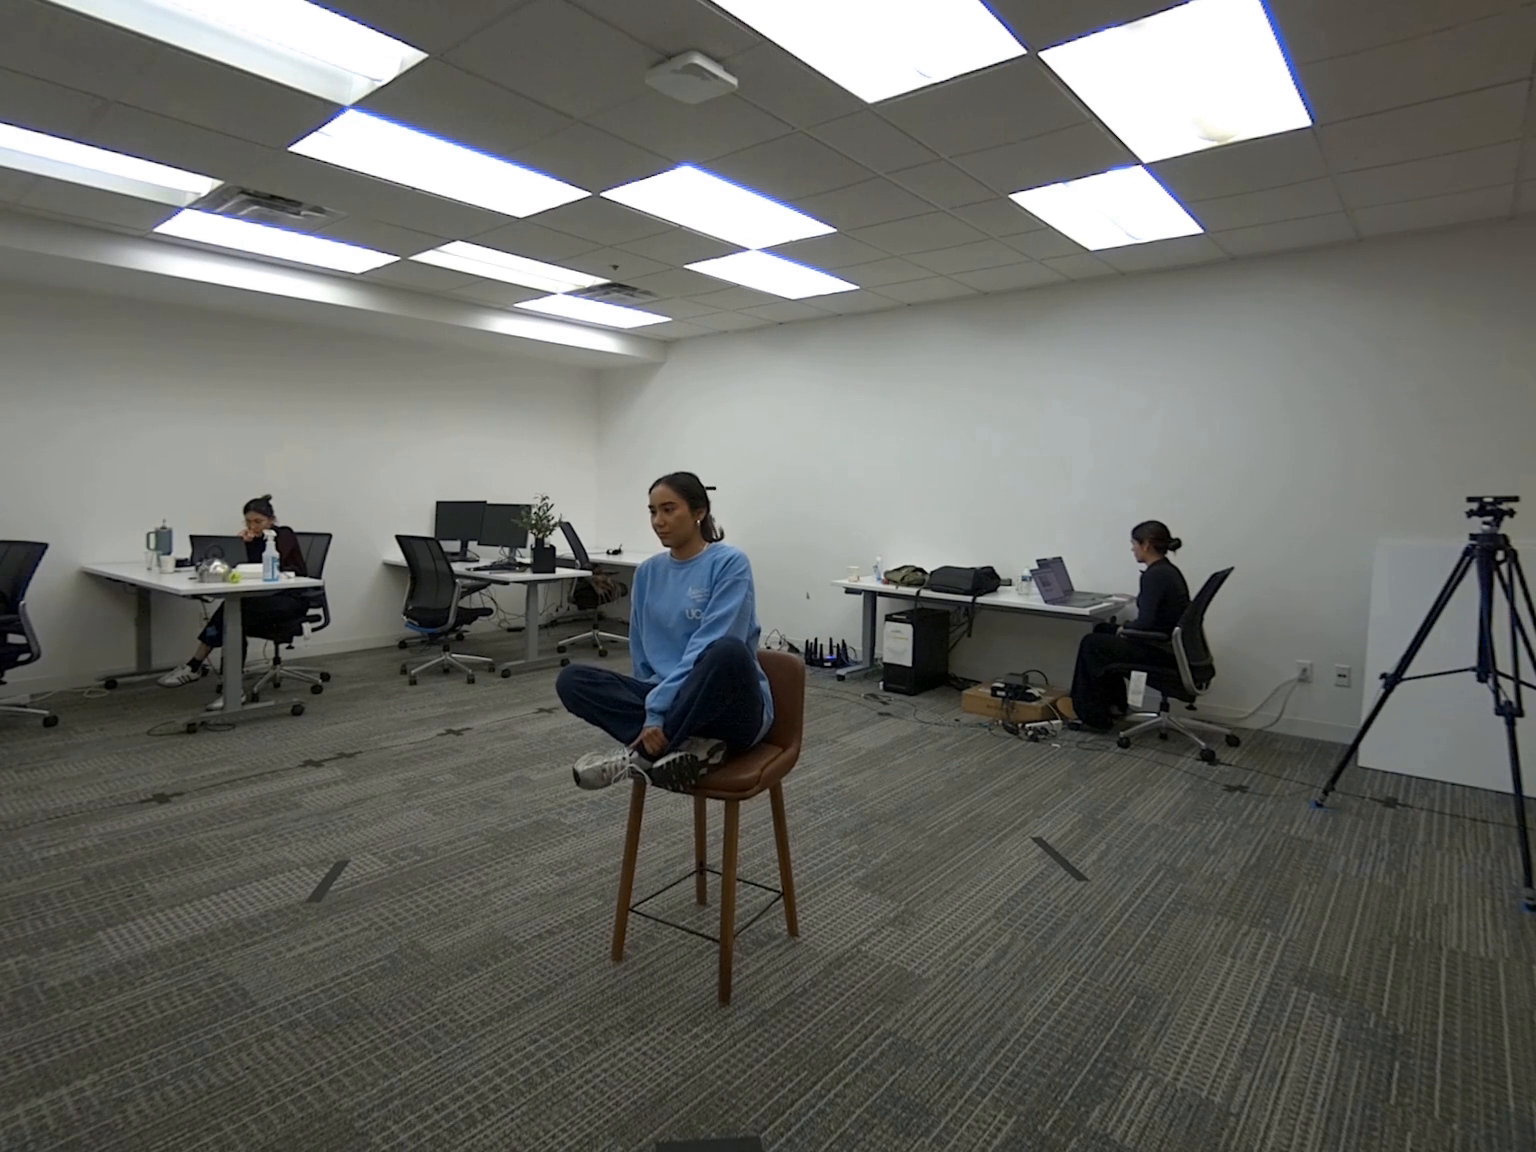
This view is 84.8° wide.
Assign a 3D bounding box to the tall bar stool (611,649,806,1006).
[{"bbox_3d":[-0.171,0.688,2.551,0.470,0.888,0.454,4,3,32],"label":"tall bar stool"}]
